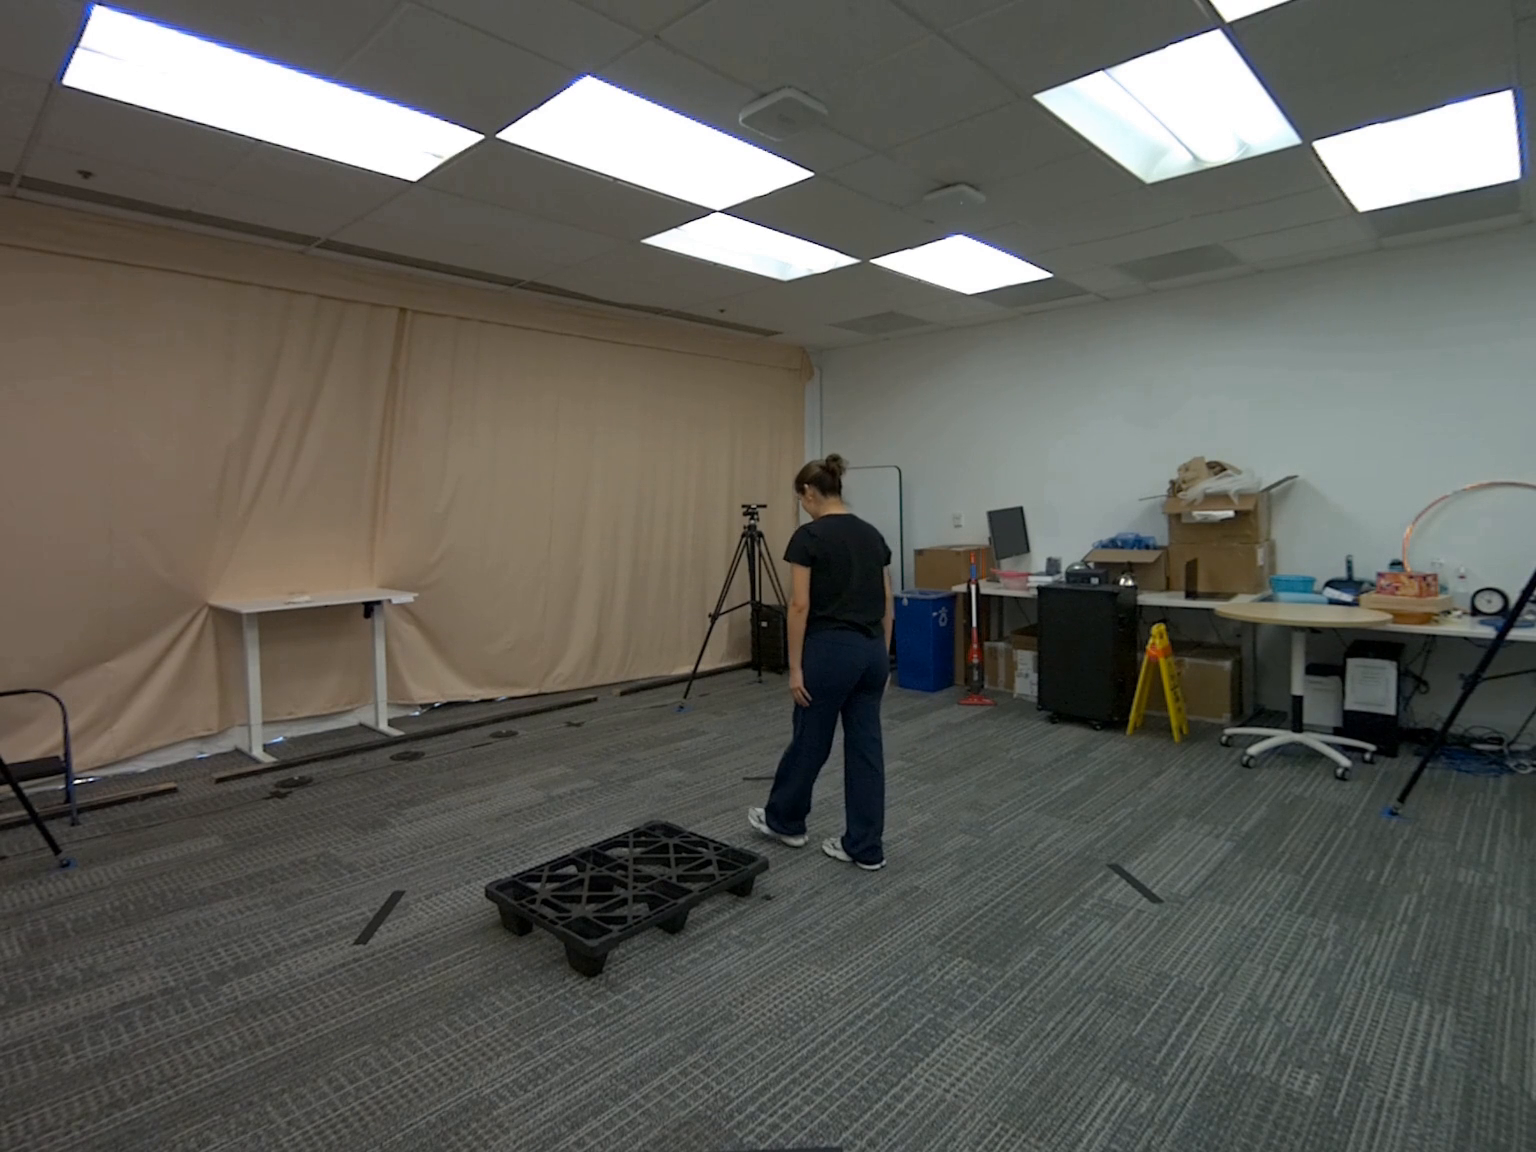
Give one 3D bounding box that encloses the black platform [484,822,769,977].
[{"bbox_3d":[-0.453,1.090,2.910,0.625,0.143,0.781,4,7,42],"label":"black platform"}]
